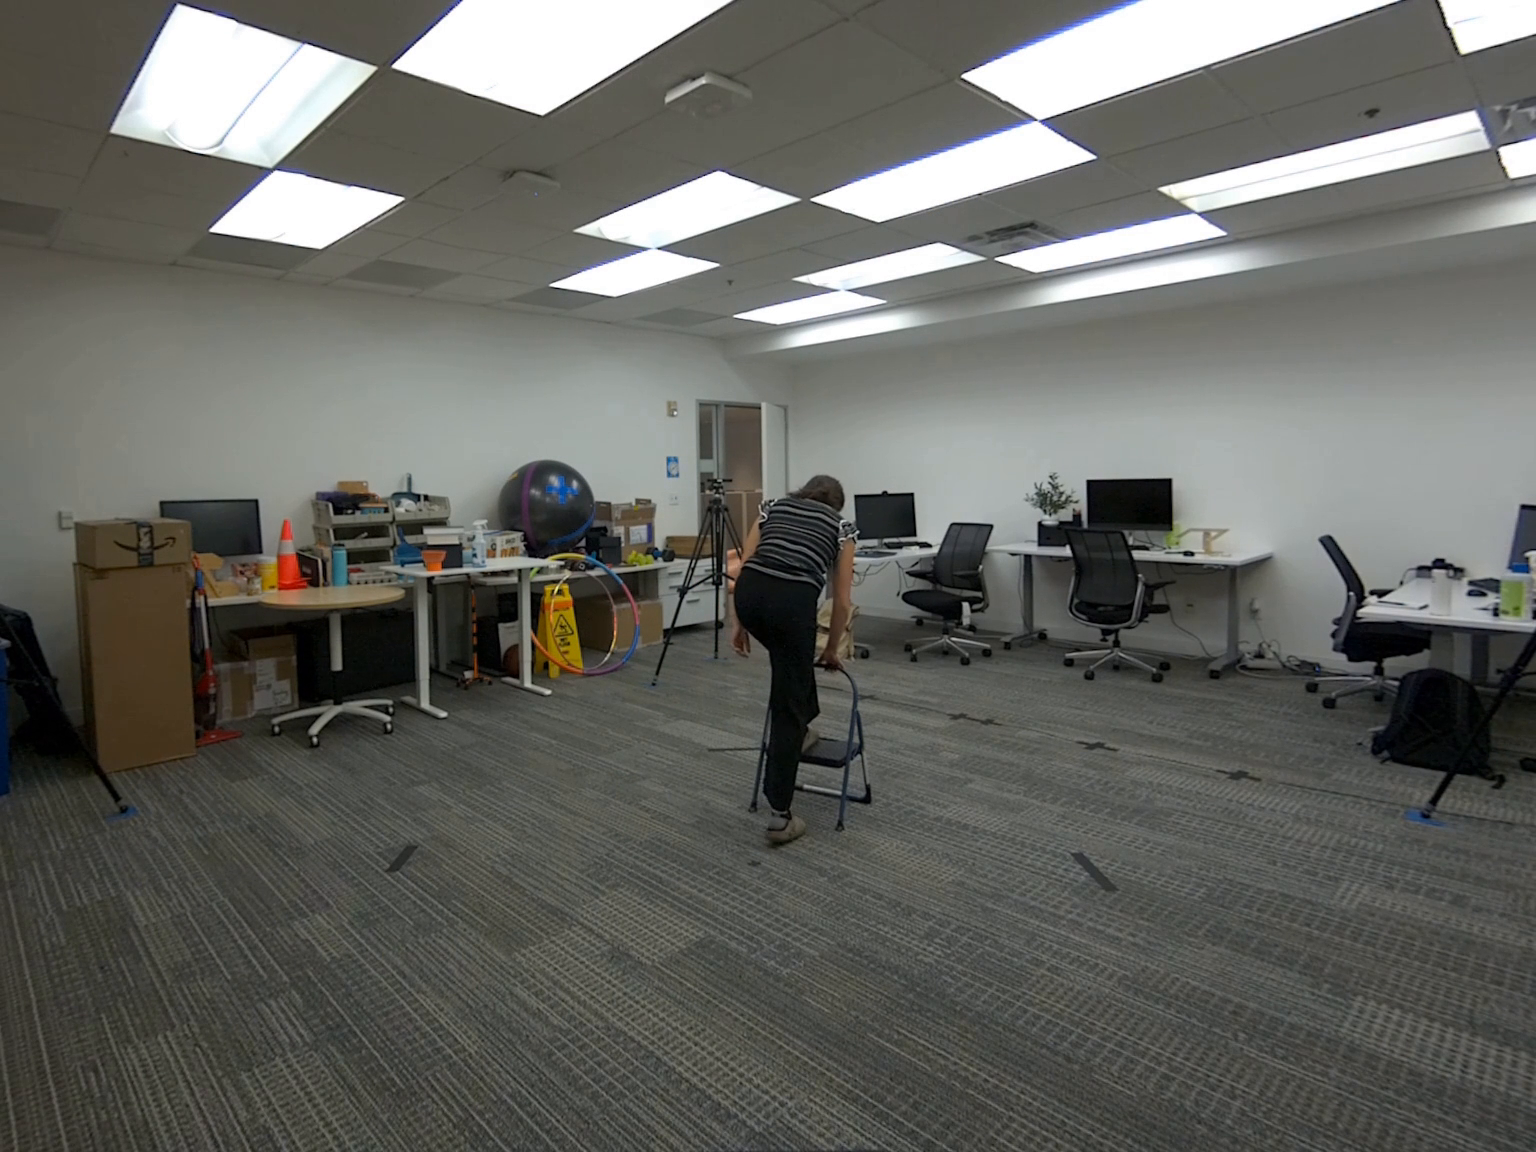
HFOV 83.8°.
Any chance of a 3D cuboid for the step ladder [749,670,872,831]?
[{"bbox_3d":[0.185,0.682,3.615,0.442,0.603,0.341,2,5,30],"label":"step ladder"}]
